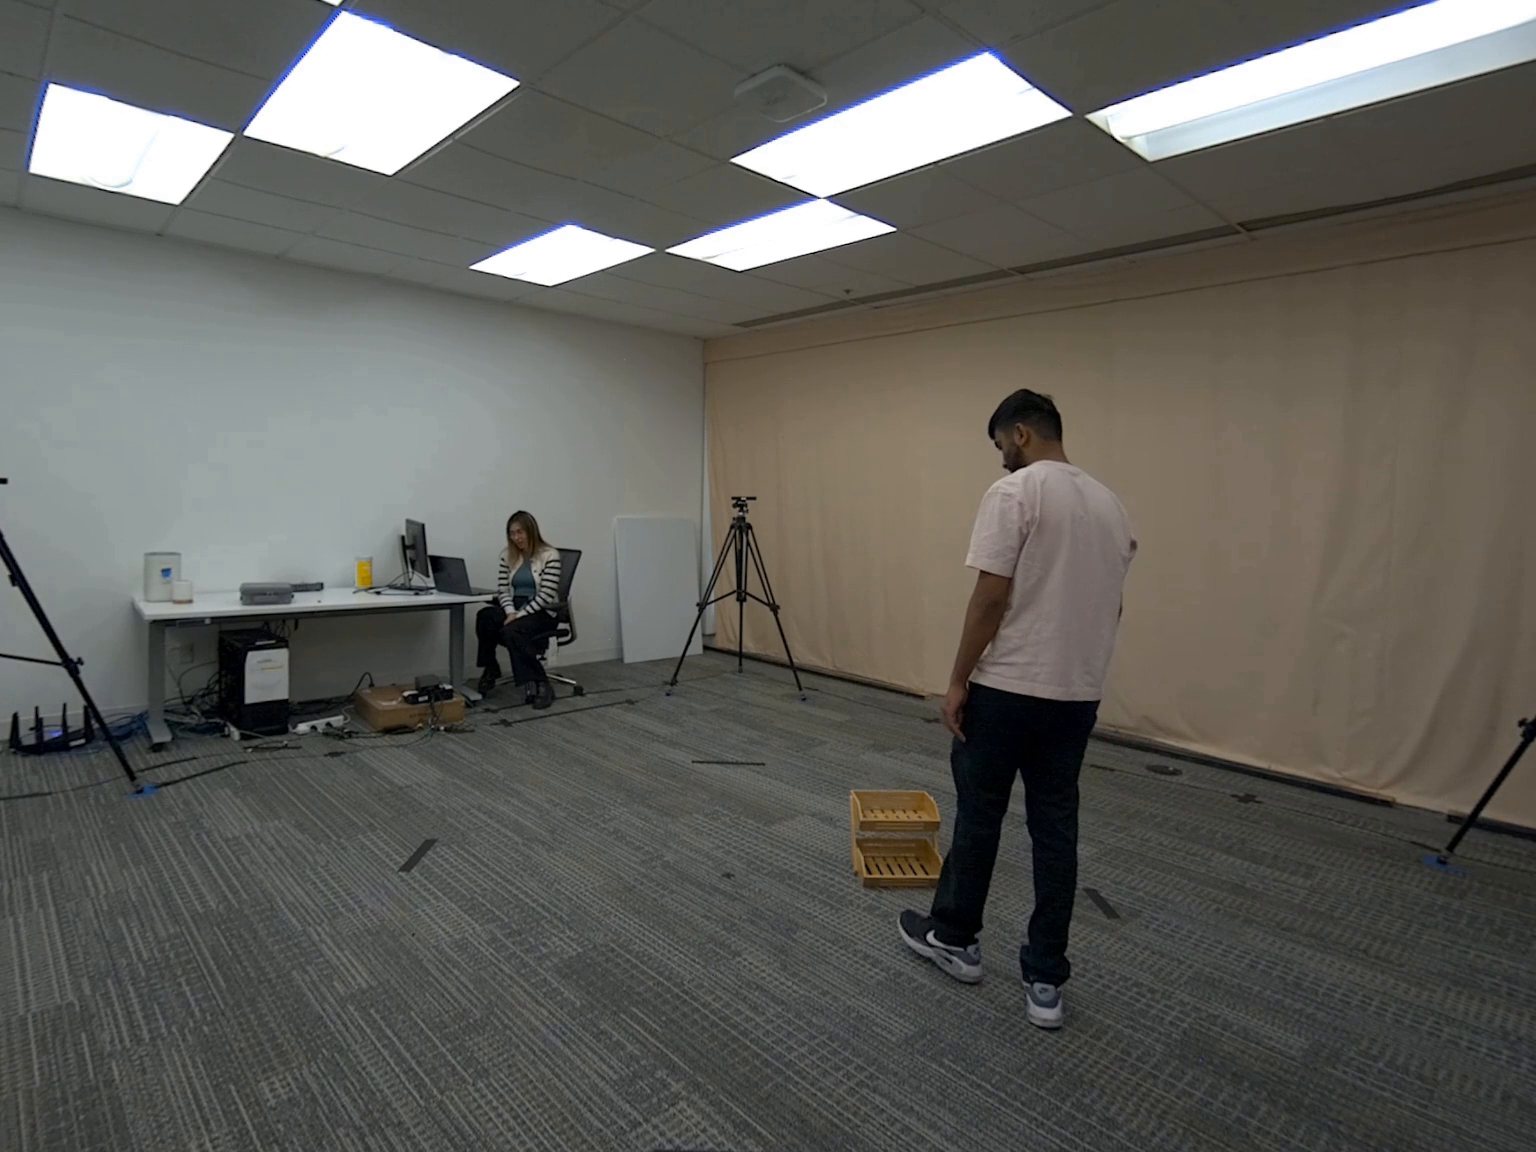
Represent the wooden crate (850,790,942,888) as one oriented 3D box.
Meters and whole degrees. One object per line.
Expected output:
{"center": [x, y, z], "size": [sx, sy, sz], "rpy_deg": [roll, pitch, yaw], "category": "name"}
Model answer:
{"center": [0.480, 0.981, 3.163], "size": [0.323, 0.273, 0.304], "rpy_deg": [2, 3, -6], "category": "wooden crate"}
